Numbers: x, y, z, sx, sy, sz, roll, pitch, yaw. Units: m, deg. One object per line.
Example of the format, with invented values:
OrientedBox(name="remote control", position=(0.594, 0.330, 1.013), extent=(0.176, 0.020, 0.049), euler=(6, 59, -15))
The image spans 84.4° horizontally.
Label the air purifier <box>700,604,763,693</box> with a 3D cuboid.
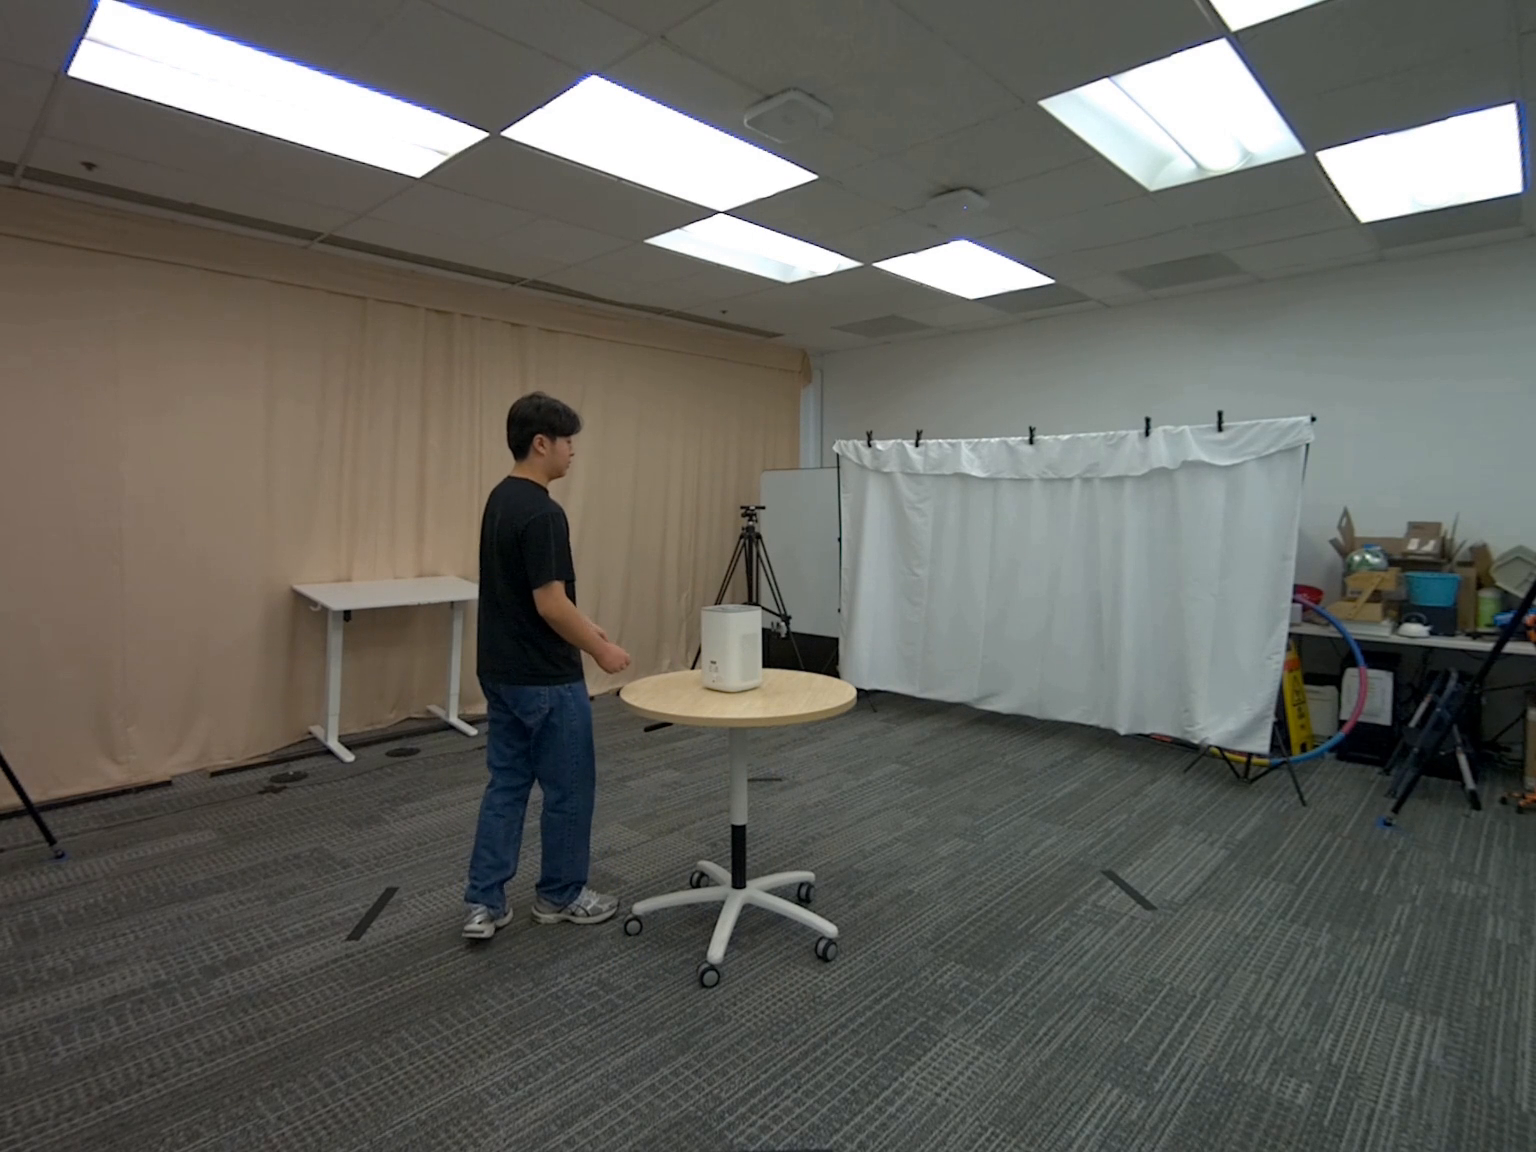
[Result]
OrientedBox(name="air purifier", position=(-0.117, 0.238, 2.753), extent=(0.177, 0.264, 0.166), euler=(4, 7, 43))
